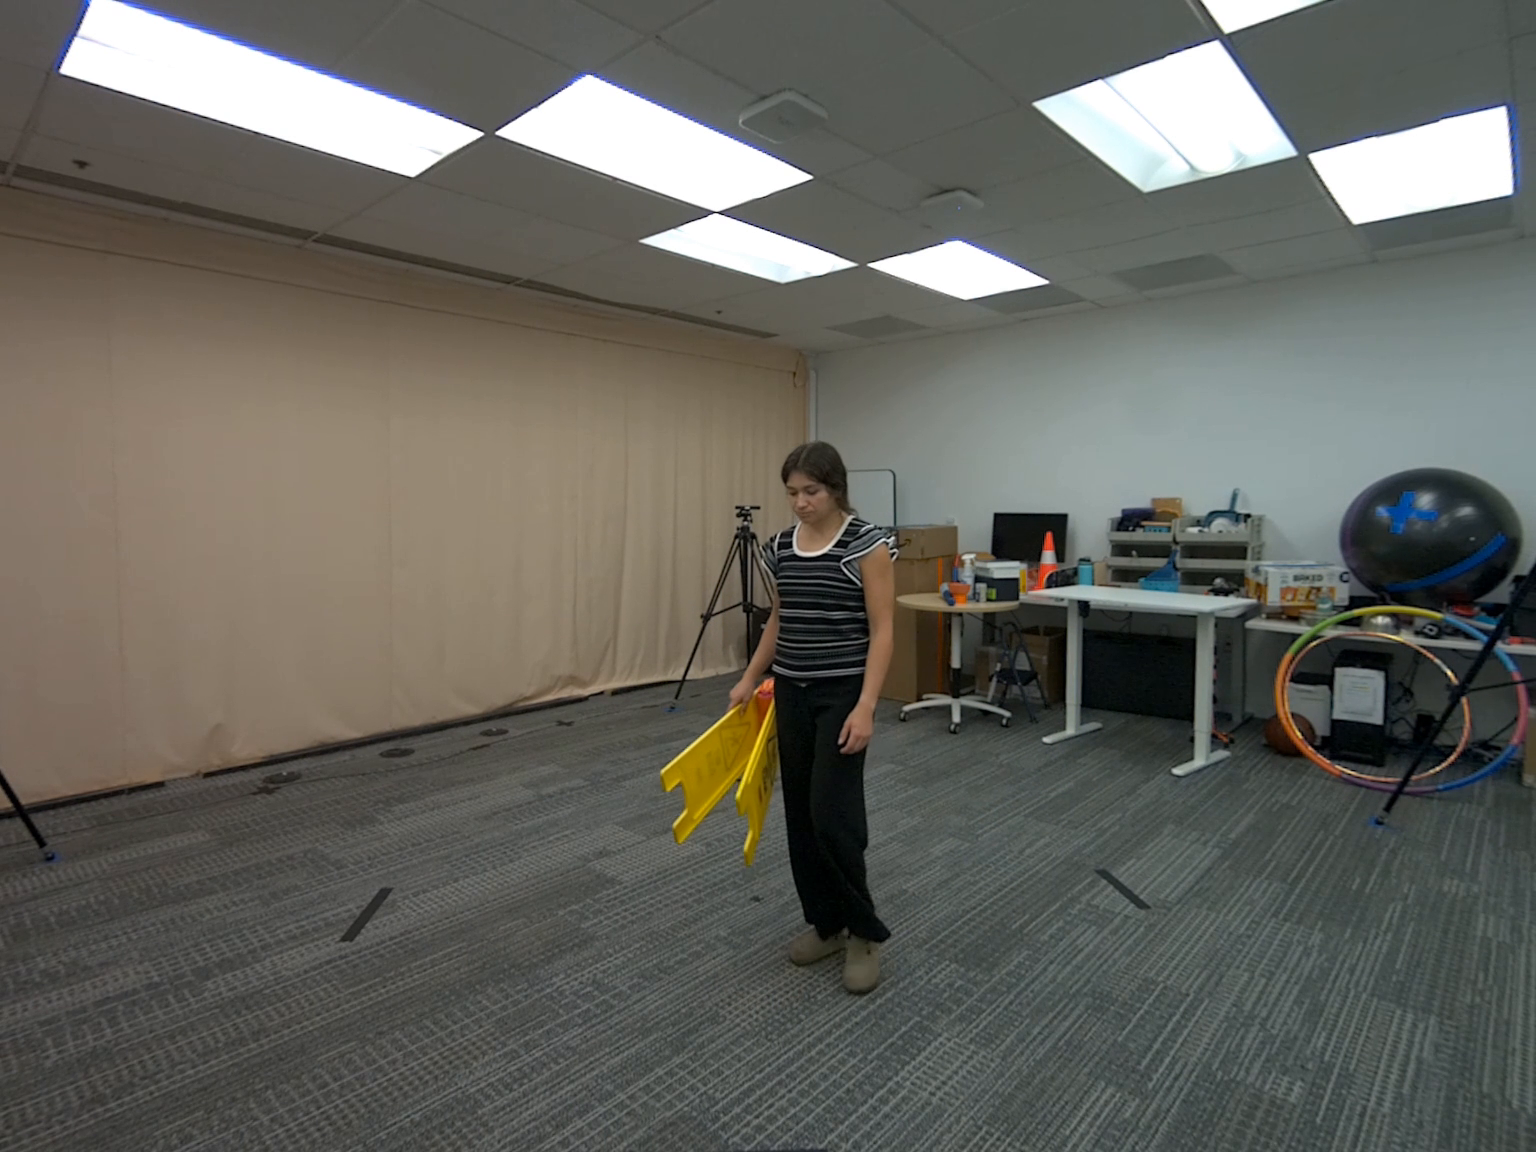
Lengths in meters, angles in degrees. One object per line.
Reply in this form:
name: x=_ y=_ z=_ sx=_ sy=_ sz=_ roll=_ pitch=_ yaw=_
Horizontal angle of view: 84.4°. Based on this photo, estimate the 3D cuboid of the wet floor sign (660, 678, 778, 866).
wet floor sign: x=-0.052 y=0.559 z=2.693 sx=0.297 sy=0.277 sz=0.642 roll=7 pitch=32 yaw=23
